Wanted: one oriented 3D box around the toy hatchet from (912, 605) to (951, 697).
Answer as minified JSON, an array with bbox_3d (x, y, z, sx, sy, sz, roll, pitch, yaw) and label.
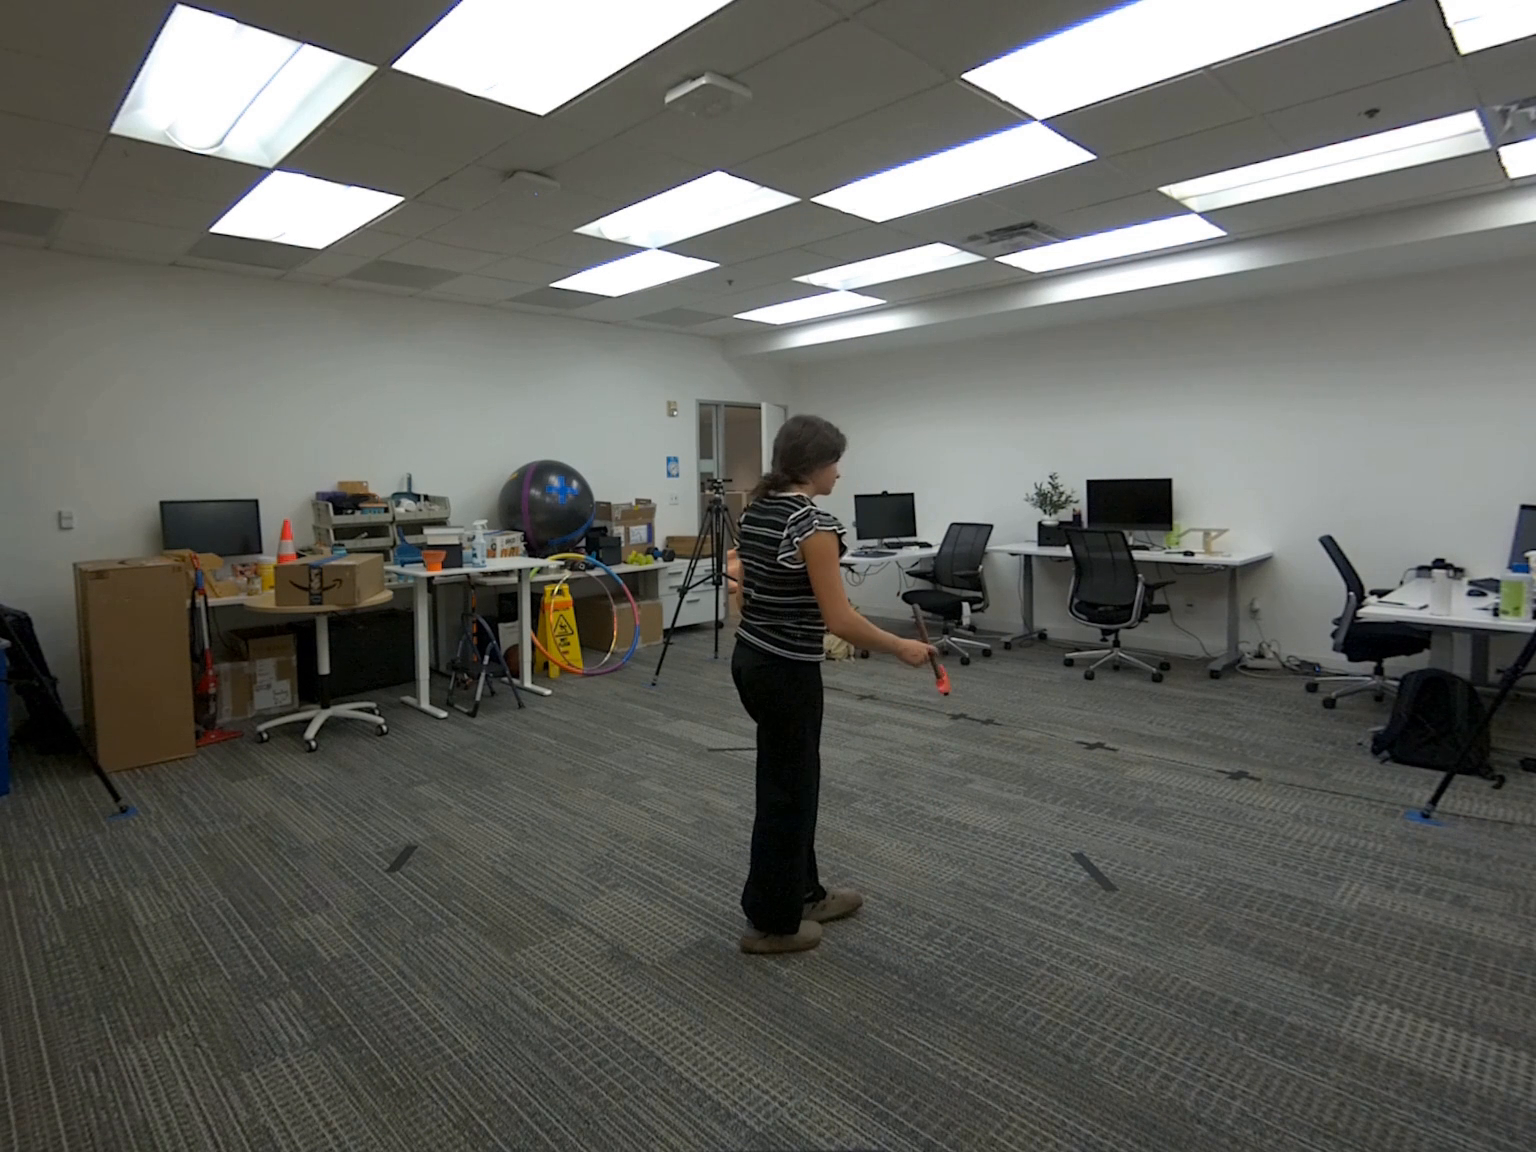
[{"bbox_3d":[0.487,0.225,2.528,0.030,0.277,0.126,-24,-25,22],"label":"toy hatchet"}]
